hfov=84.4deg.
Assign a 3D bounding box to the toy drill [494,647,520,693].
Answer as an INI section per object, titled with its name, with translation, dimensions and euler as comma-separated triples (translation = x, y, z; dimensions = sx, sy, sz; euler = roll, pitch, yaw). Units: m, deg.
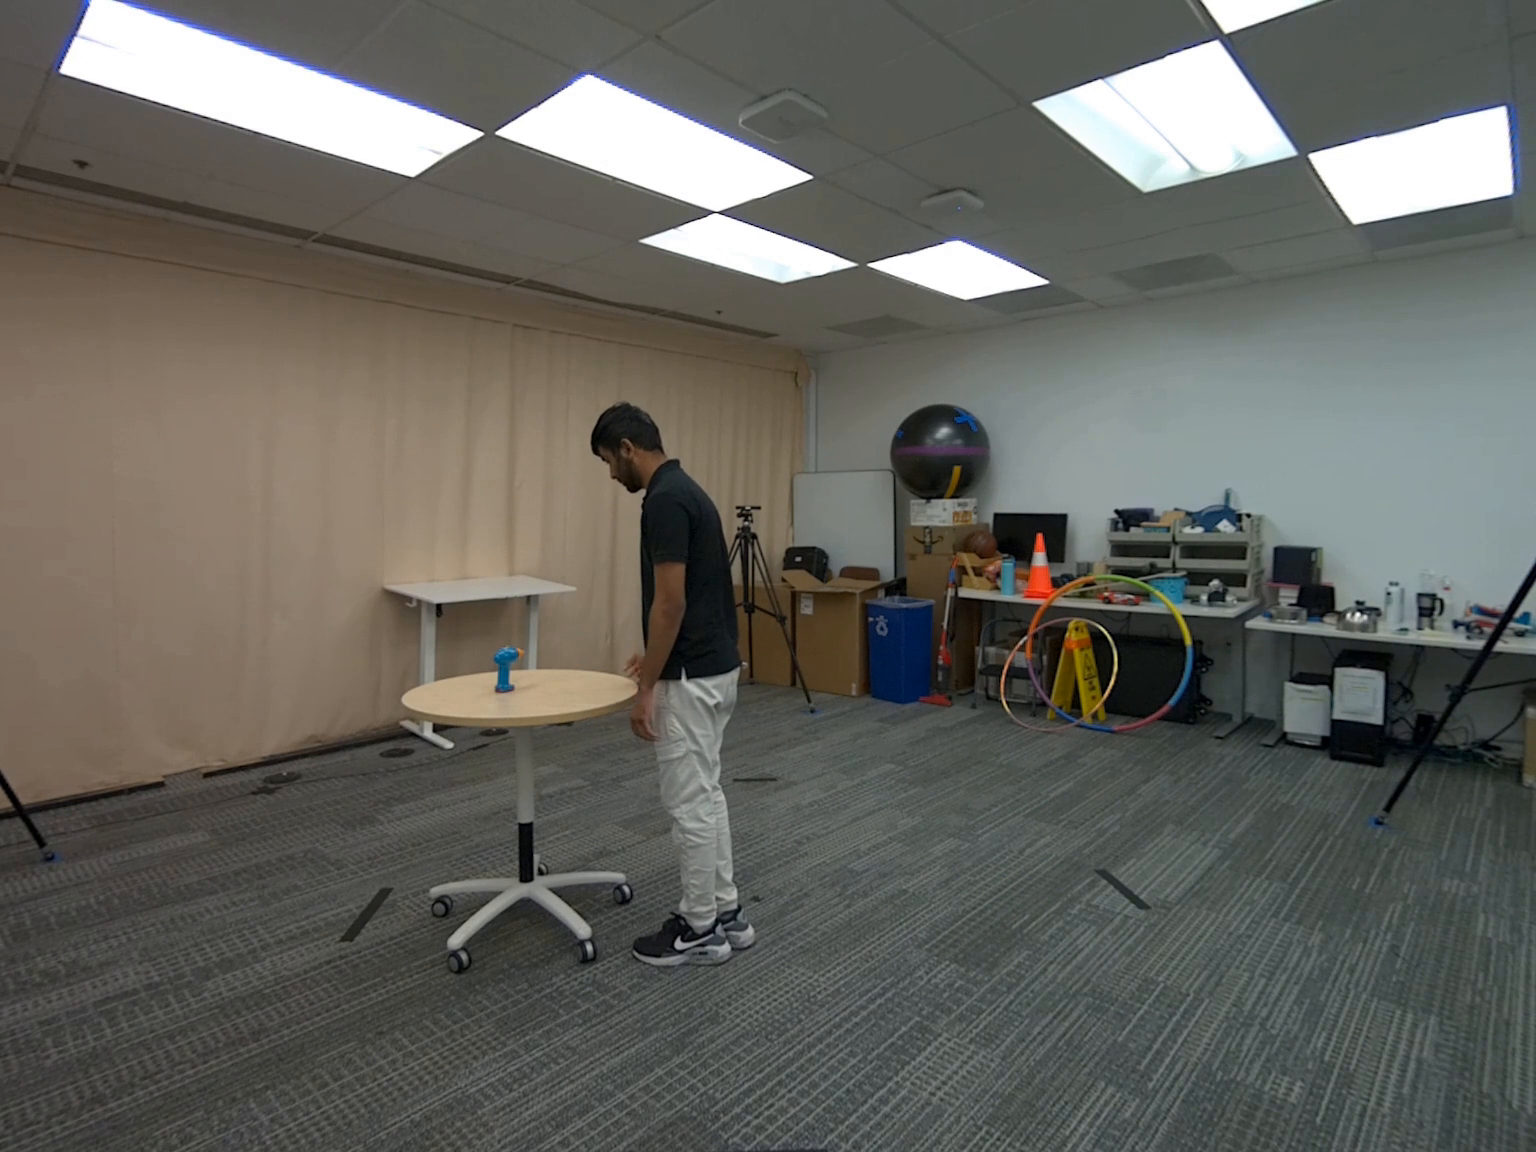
[toy drill]
translation = -0.866, 0.307, 2.828
dimensions = 0.062, 0.146, 0.168
euler = 2, 2, 10
